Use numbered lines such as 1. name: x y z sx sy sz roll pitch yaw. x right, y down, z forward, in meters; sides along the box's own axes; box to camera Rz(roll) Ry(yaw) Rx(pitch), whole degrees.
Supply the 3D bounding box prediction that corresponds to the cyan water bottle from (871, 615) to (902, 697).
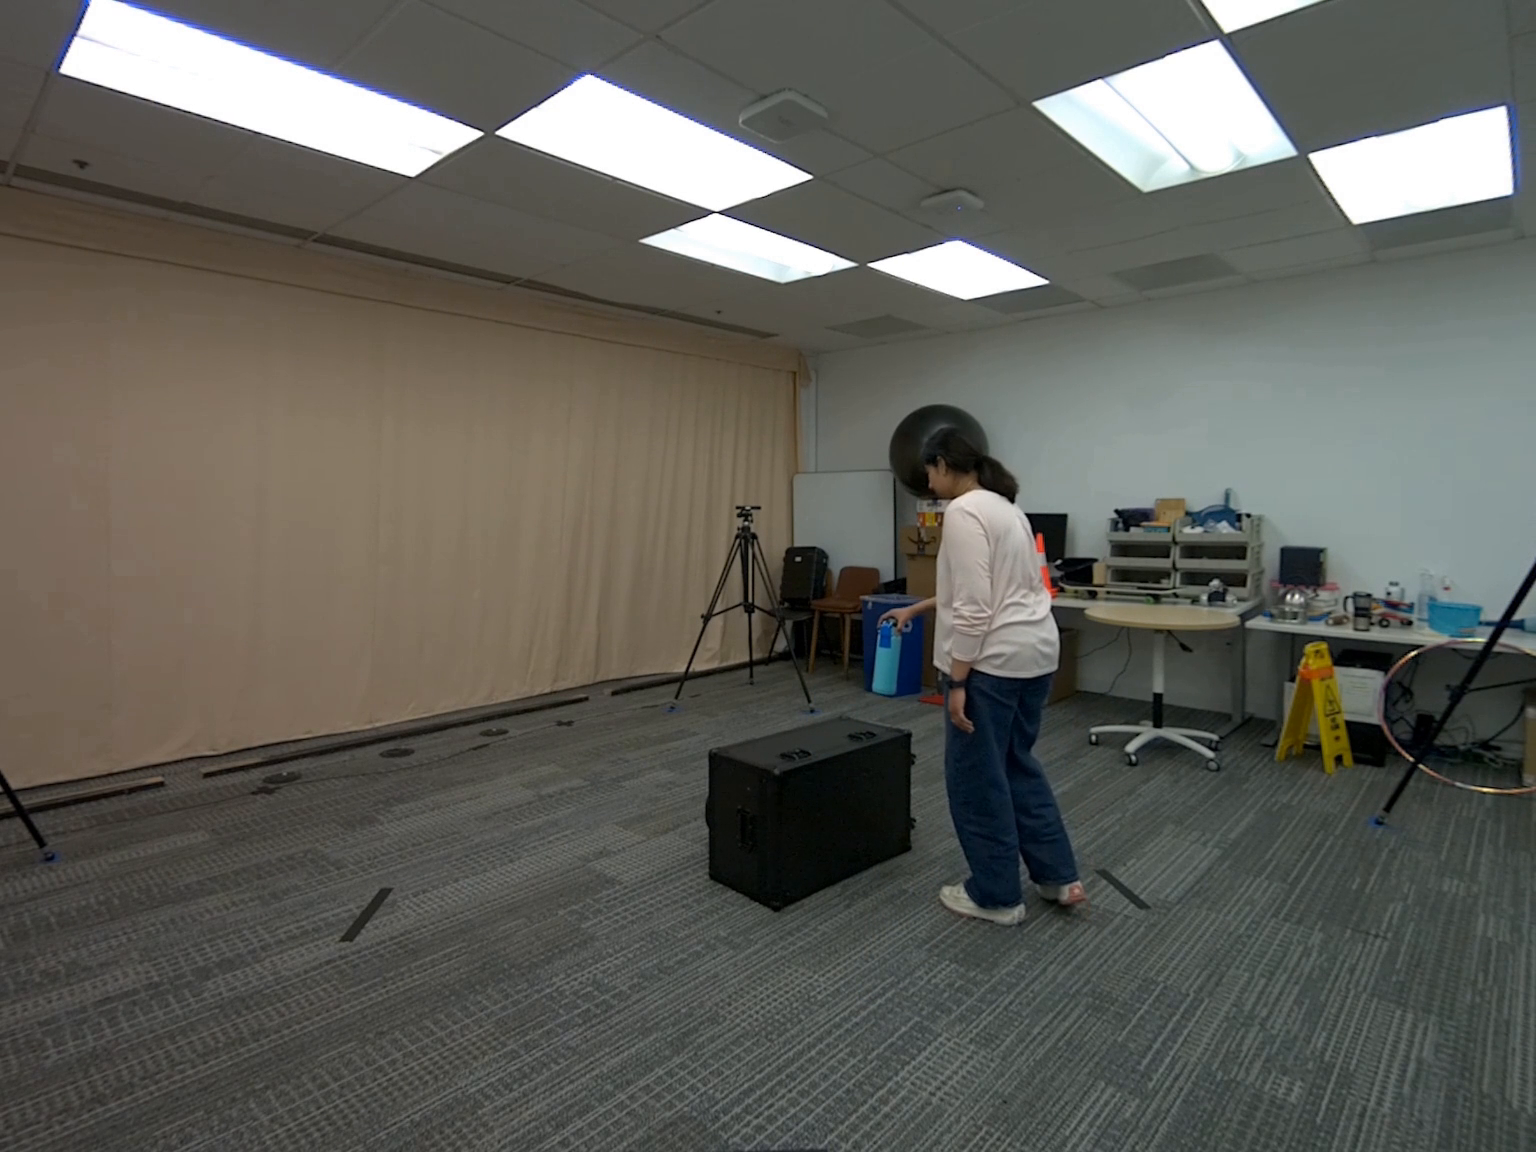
1. cyan water bottle: 0.473 0.308 3.233 0.092 0.283 0.092 5 3 -2
